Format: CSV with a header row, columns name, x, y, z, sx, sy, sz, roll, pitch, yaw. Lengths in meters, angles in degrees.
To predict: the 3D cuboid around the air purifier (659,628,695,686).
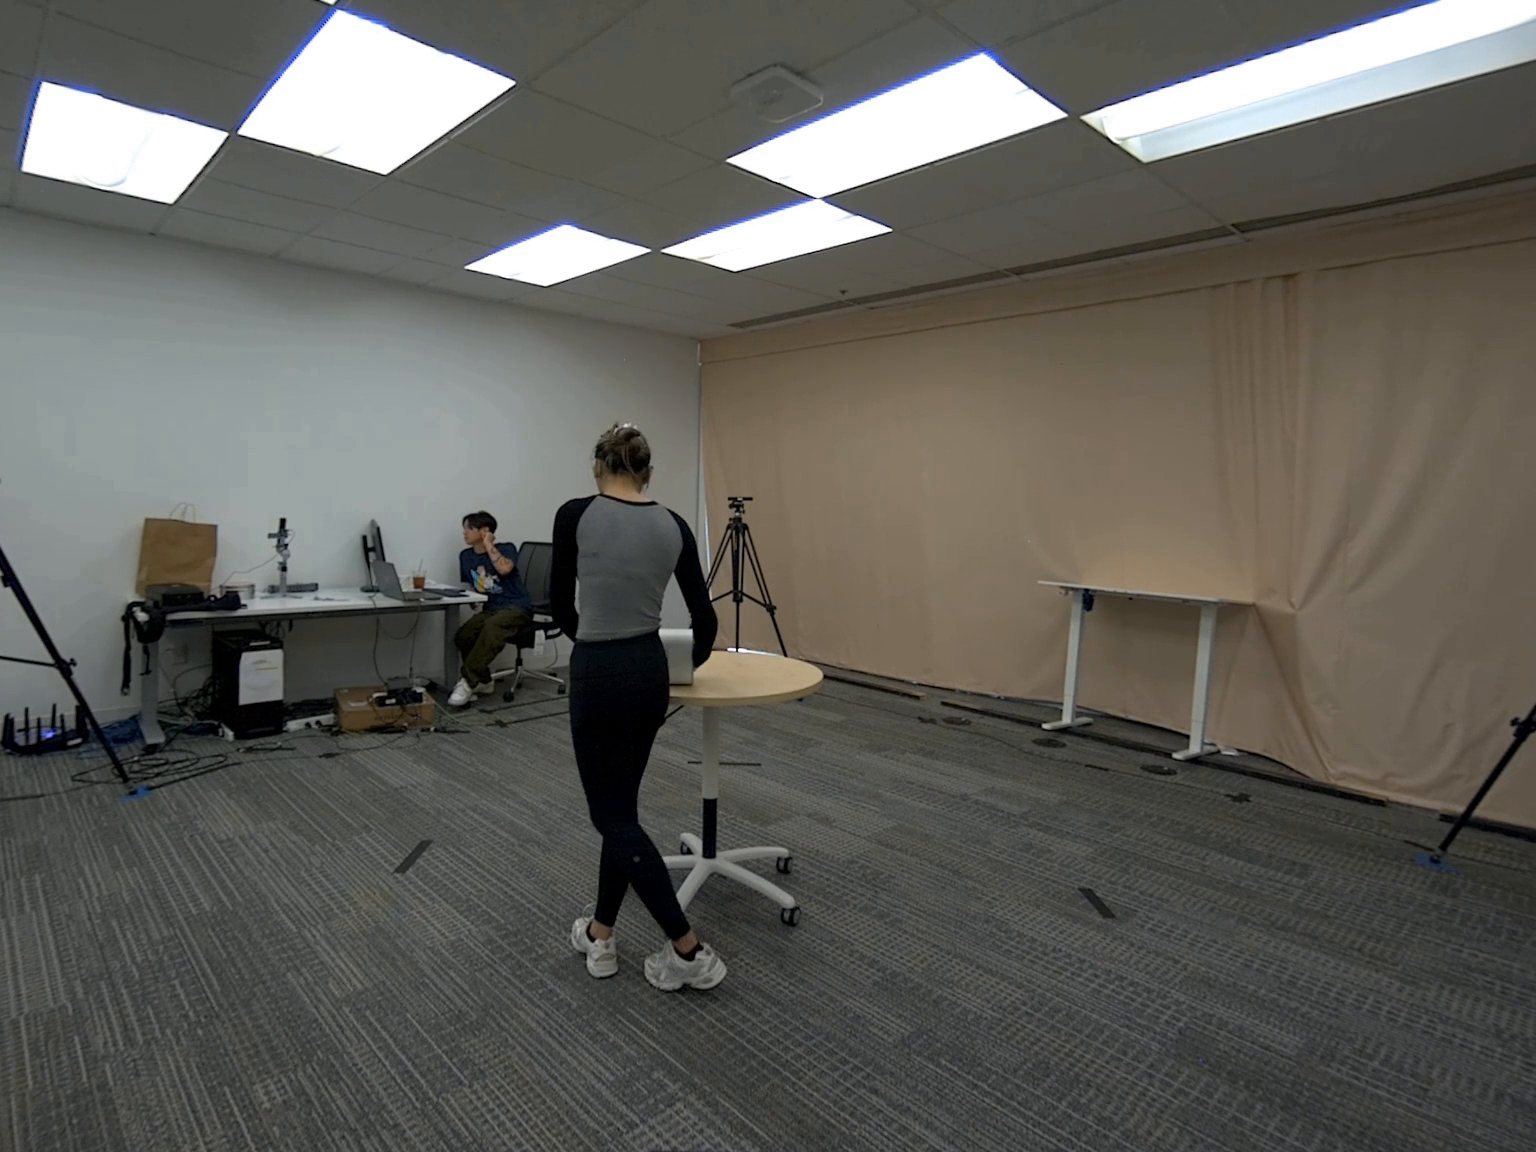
name,x,y,z,sx,sy,sz,roll,pitch,yaw
air purifier,-0.373,0.261,2.718,0.265,0.171,0.172,0,6,-3
